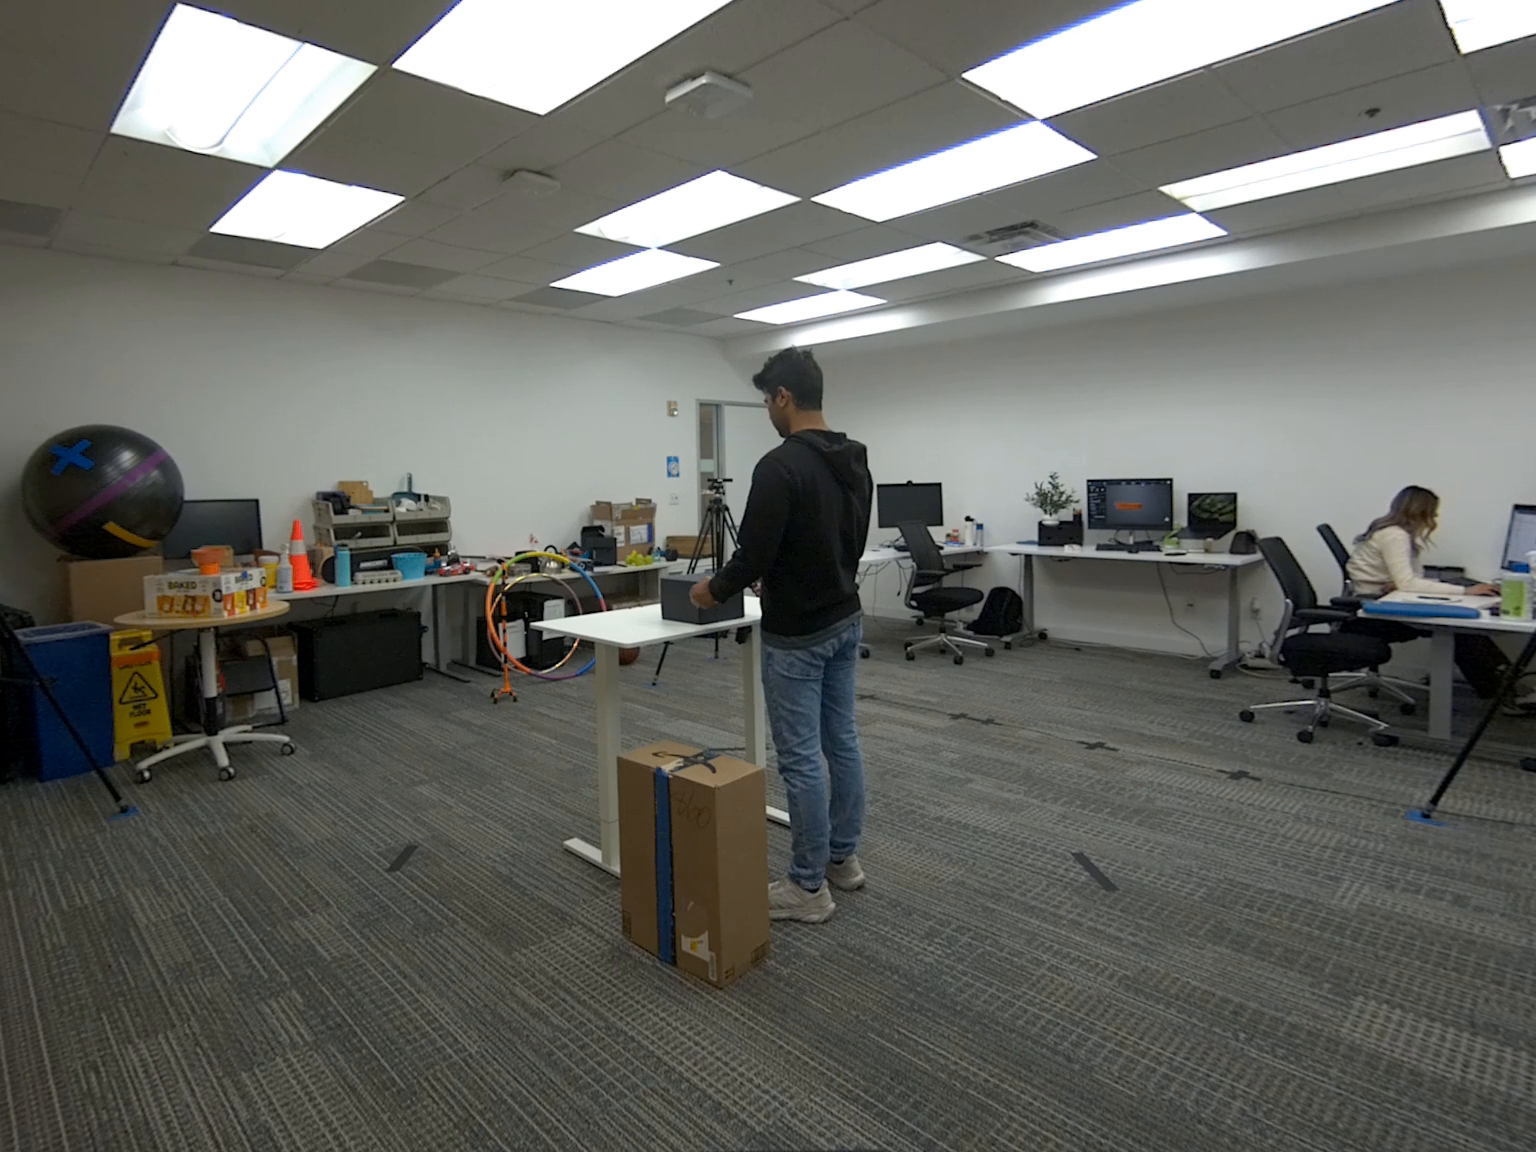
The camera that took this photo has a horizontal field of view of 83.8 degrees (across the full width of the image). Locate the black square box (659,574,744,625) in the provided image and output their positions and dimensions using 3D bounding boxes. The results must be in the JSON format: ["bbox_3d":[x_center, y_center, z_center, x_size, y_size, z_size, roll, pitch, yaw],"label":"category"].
[{"bbox_3d":[-0.244,0.081,3.176,0.224,0.155,0.222,4,7,45],"label":"black square box"}]
